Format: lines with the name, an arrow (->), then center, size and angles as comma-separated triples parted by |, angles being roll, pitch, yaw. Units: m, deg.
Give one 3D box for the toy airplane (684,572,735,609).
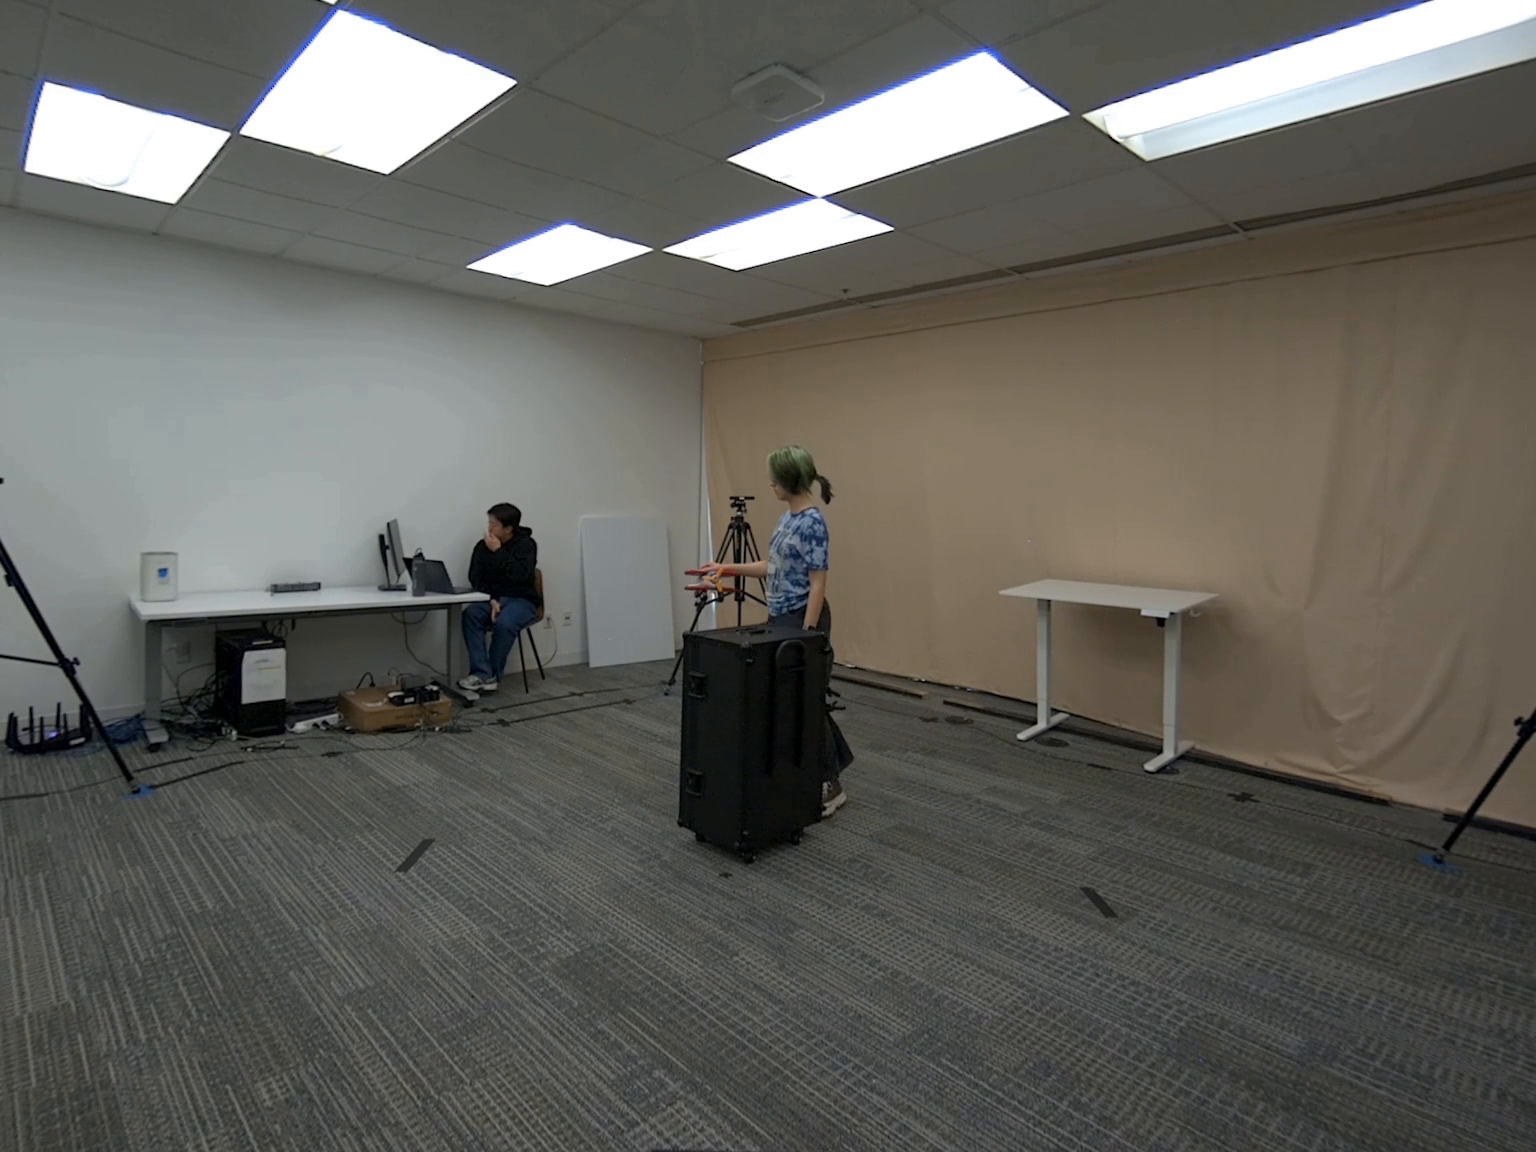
toy airplane -> -0.327, 0.039, 4.192 | 0.266, 0.156, 0.245 | 7, 5, 42
